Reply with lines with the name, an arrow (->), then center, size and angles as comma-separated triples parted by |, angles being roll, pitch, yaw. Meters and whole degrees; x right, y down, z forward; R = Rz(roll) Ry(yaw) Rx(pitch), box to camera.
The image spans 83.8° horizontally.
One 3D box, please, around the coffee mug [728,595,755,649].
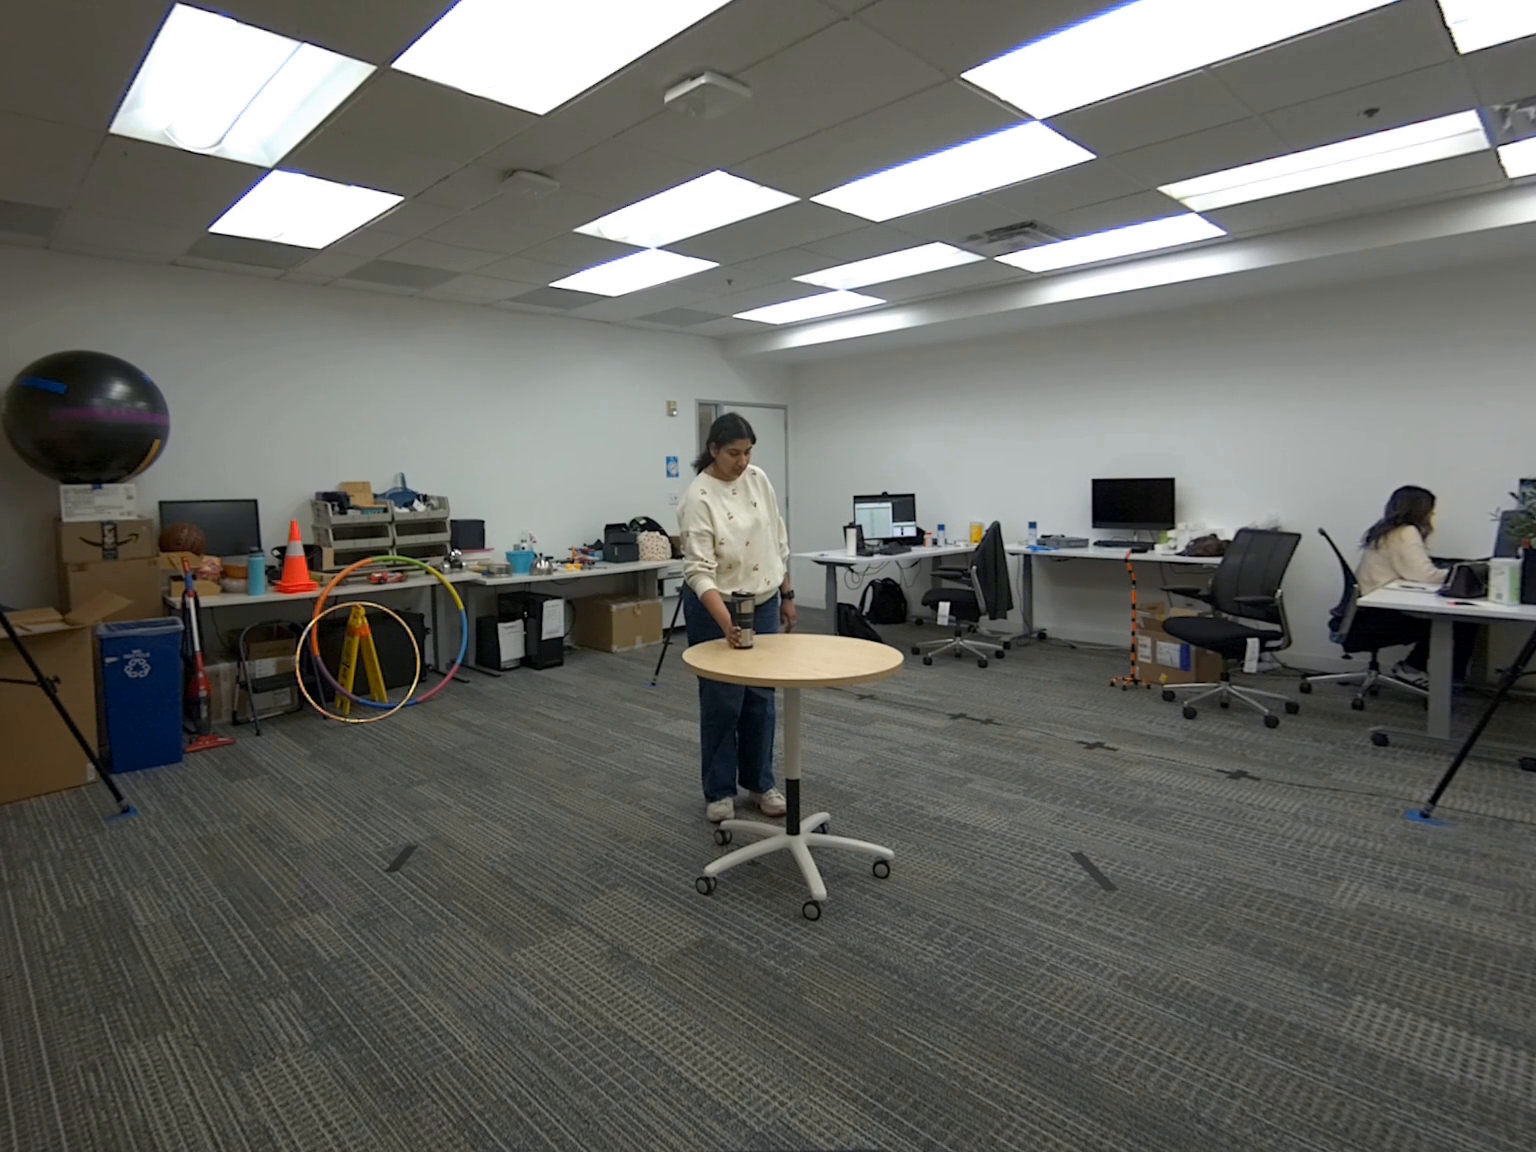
coffee mug -> -0.110, 0.161, 3.089 | 0.119, 0.202, 0.090 | -1, 5, -34
